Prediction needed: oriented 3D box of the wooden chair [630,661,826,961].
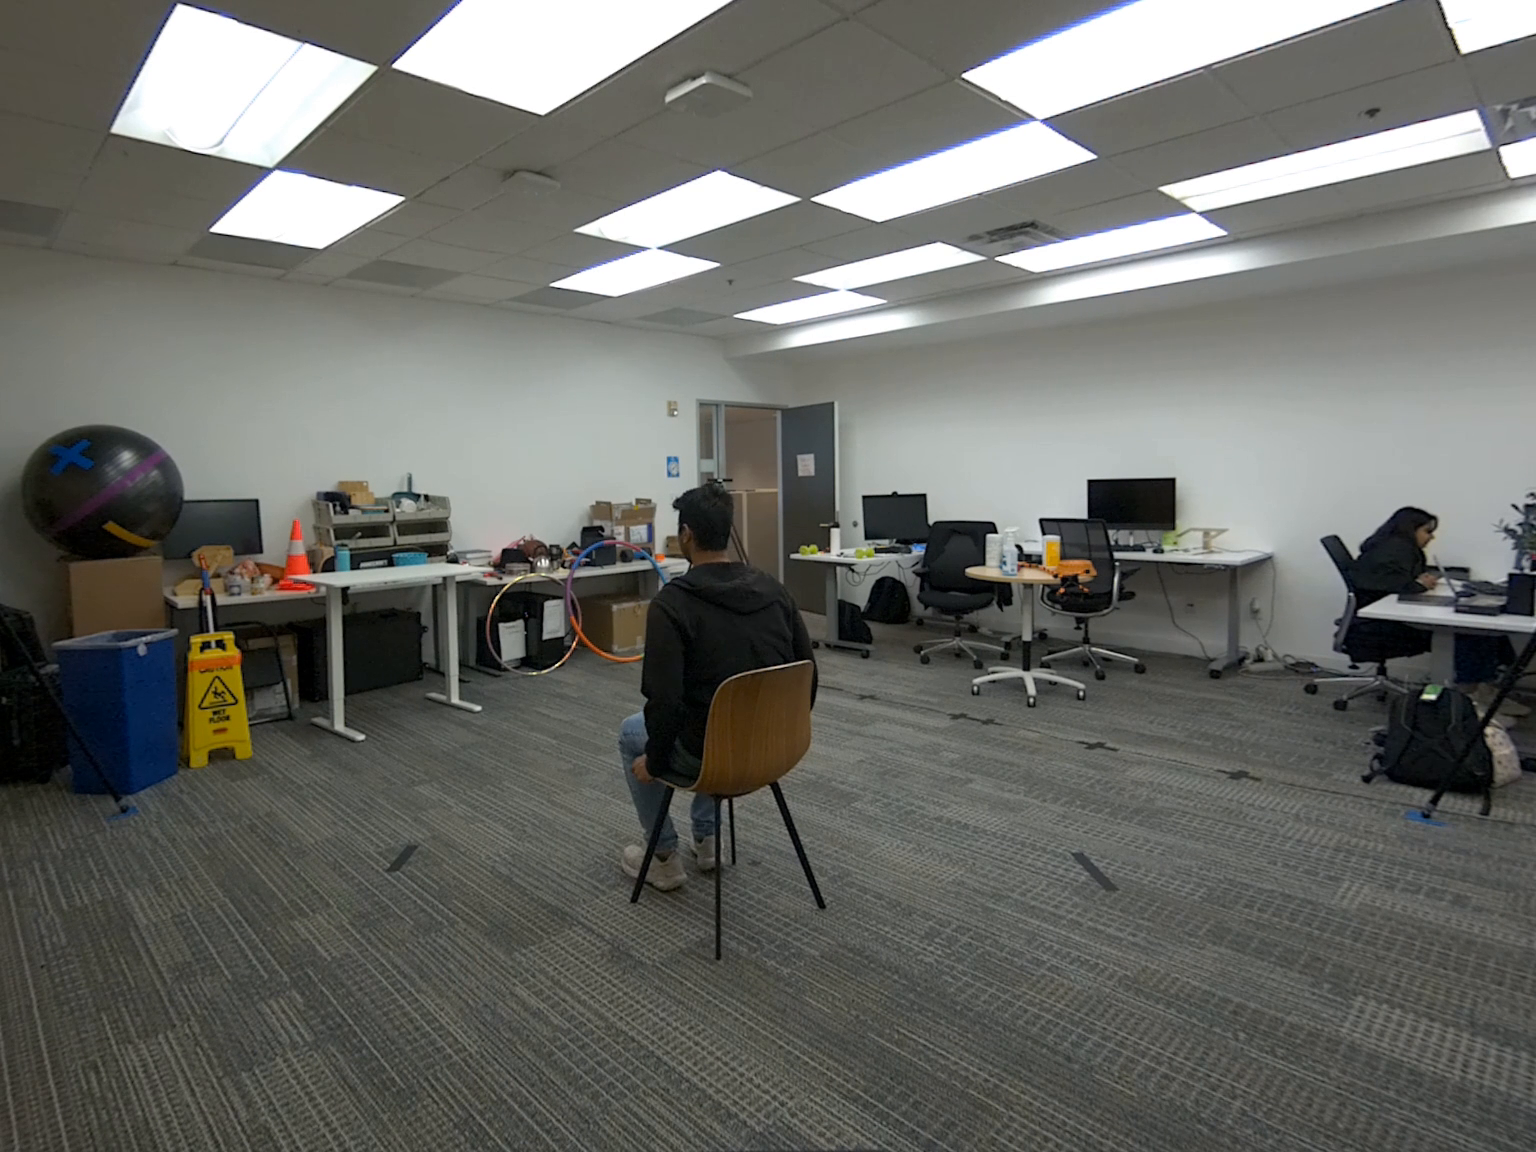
[{"bbox_3d":[-0.149,0.658,2.775,0.465,0.872,0.540,-5,10,-41],"label":"wooden chair"}]
